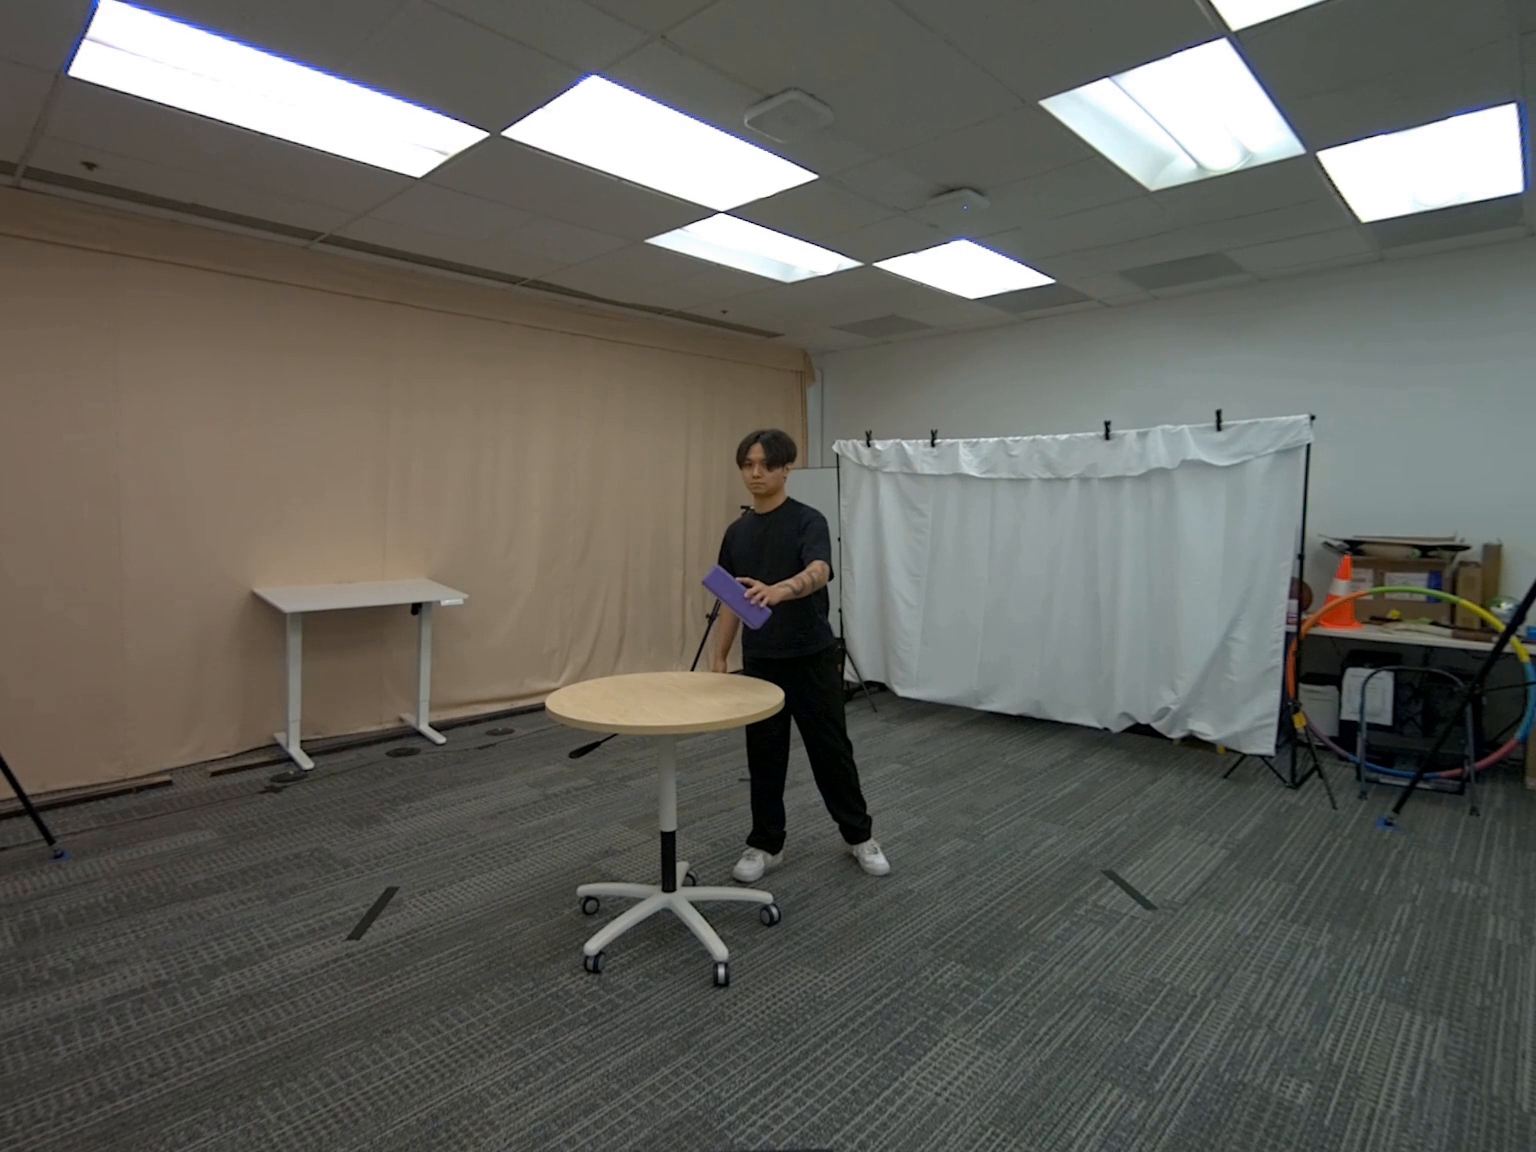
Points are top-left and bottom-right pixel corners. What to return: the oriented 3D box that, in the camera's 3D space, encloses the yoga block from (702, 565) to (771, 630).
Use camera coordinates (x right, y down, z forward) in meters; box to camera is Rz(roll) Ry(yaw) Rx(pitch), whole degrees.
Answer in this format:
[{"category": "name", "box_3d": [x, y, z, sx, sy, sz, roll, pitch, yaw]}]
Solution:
[{"category": "yoga block", "box_3d": [-0.096, 0.070, 2.625, 0.076, 0.229, 0.149, -44, 1, -5]}]
